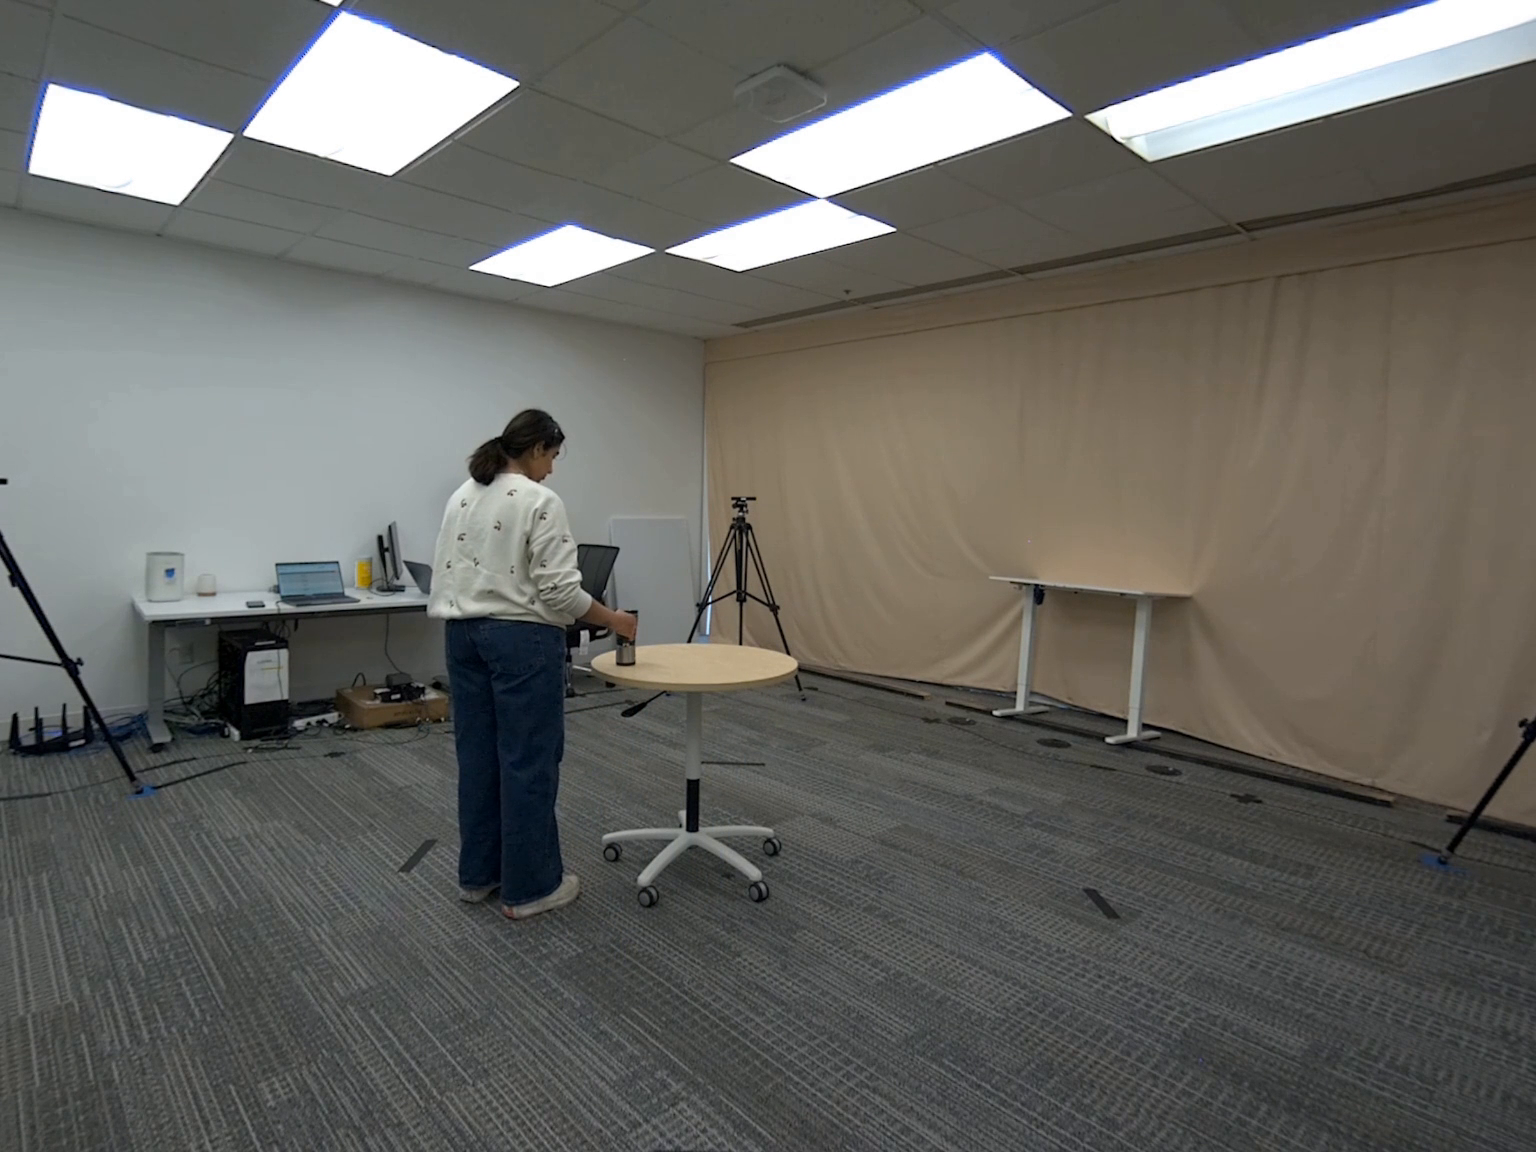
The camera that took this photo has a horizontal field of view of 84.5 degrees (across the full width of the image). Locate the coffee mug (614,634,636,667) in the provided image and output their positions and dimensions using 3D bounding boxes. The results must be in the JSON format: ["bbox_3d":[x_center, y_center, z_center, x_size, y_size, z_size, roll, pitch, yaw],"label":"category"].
[{"bbox_3d":[-0.536,0.228,3.037,0.119,0.202,0.090,0,6,-39],"label":"coffee mug"}]
